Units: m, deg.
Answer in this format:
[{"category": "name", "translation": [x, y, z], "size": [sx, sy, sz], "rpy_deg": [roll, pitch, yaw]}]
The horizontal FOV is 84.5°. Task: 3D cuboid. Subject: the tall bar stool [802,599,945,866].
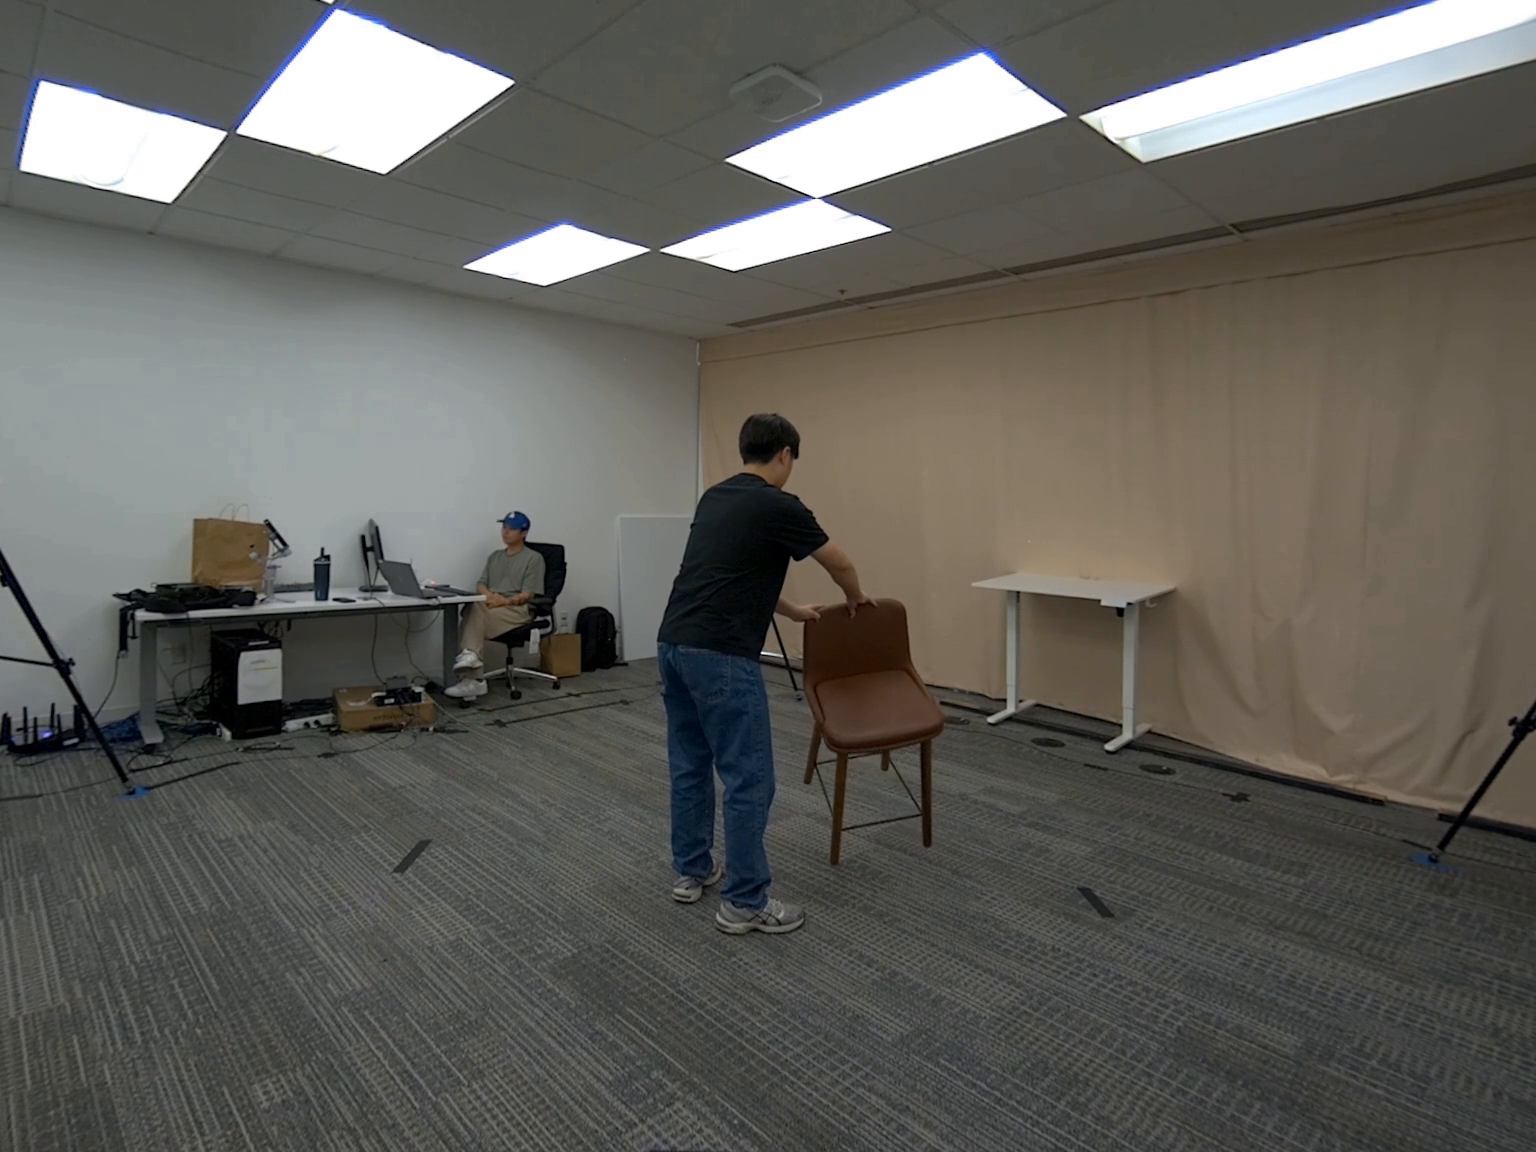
[{"category": "tall bar stool", "translation": [0.383, 0.594, 3.229], "size": [0.453, 0.873, 0.480], "rpy_deg": [-7, 29, -11]}]
